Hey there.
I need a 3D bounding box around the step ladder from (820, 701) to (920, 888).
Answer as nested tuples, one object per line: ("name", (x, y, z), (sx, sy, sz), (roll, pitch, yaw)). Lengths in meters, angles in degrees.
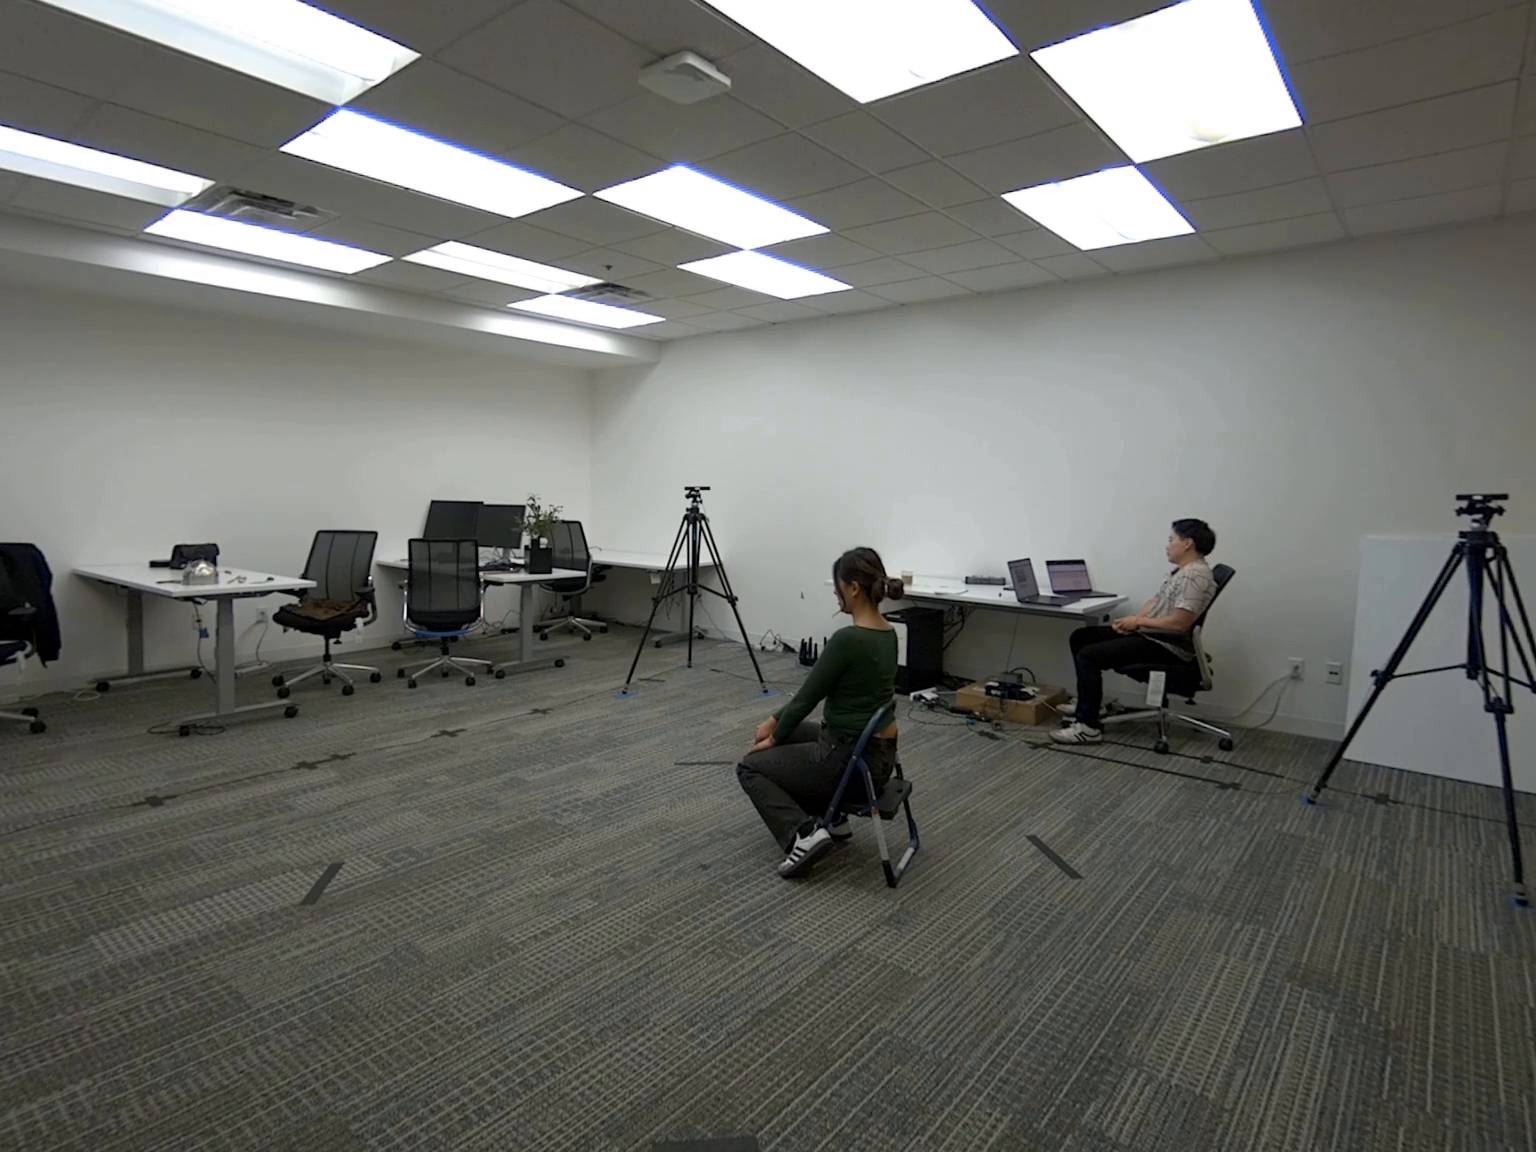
("step ladder", (0.365, 0.771, 3.212), (0.358, 0.604, 0.422), (3, 4, 23))
